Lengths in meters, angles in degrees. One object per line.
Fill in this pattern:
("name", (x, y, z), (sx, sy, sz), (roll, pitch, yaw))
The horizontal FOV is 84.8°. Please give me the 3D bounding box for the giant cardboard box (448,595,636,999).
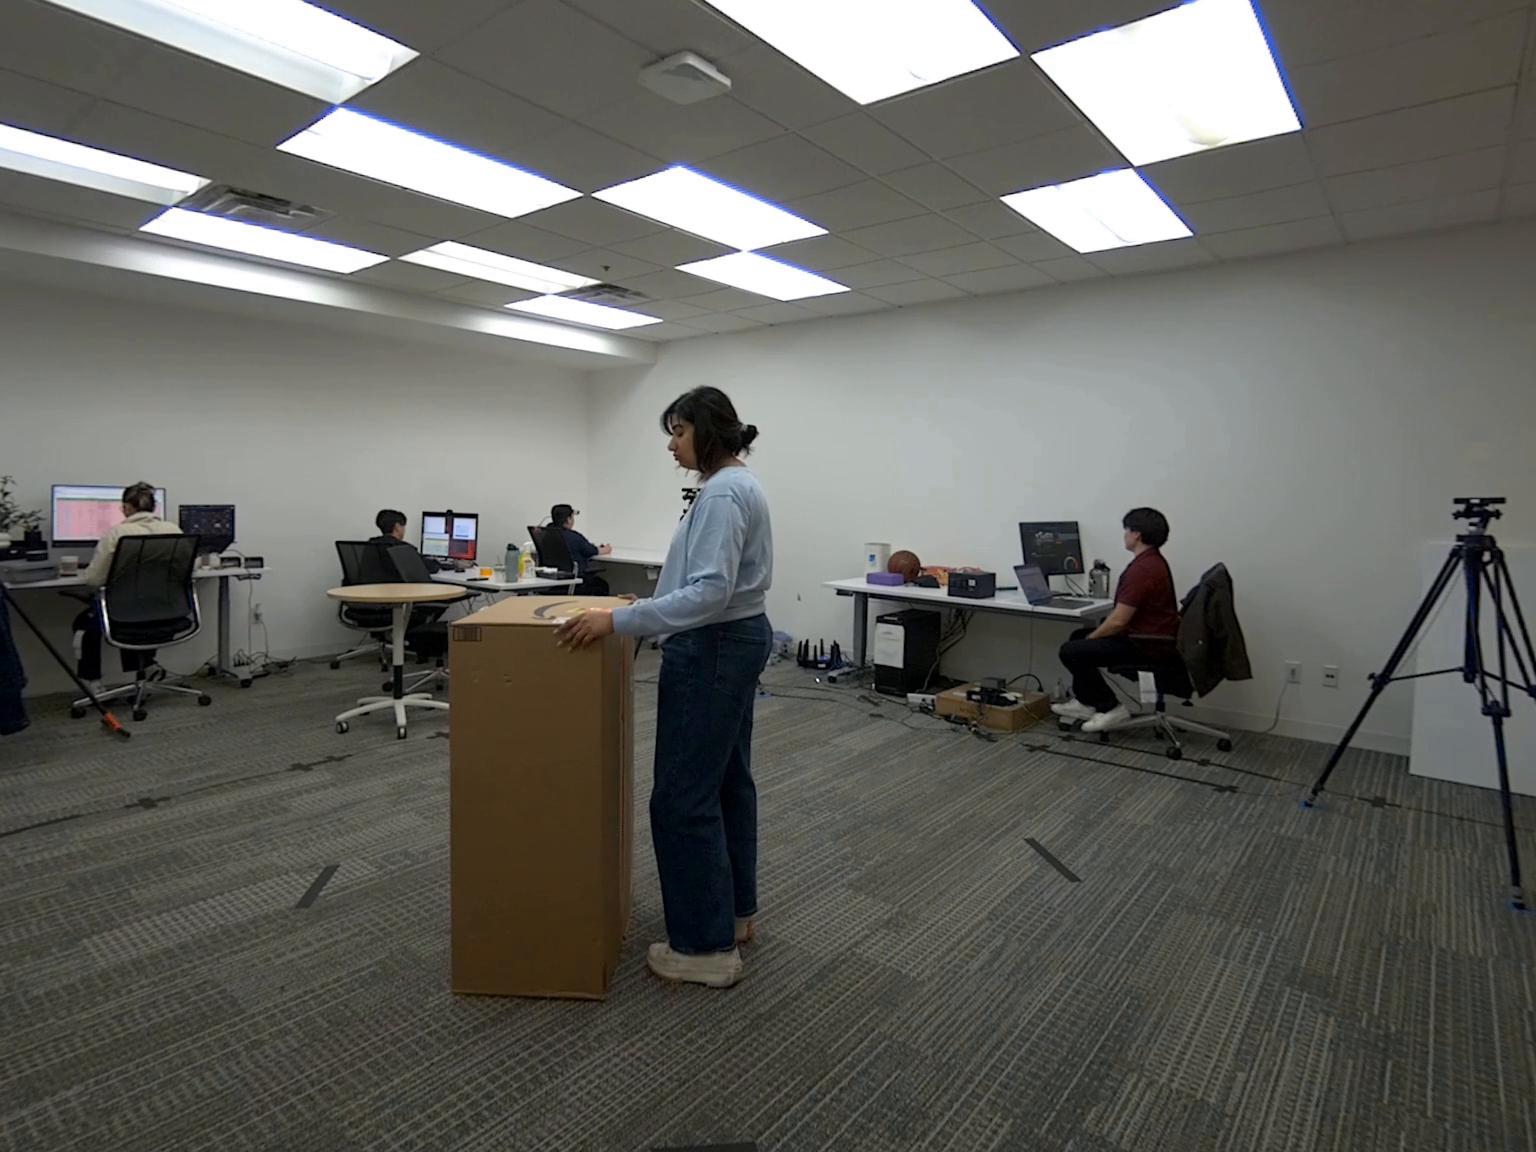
("giant cardboard box", (-0.662, 0.604, 2.564), (0.448, 1.024, 0.584), (1, 3, 2))
